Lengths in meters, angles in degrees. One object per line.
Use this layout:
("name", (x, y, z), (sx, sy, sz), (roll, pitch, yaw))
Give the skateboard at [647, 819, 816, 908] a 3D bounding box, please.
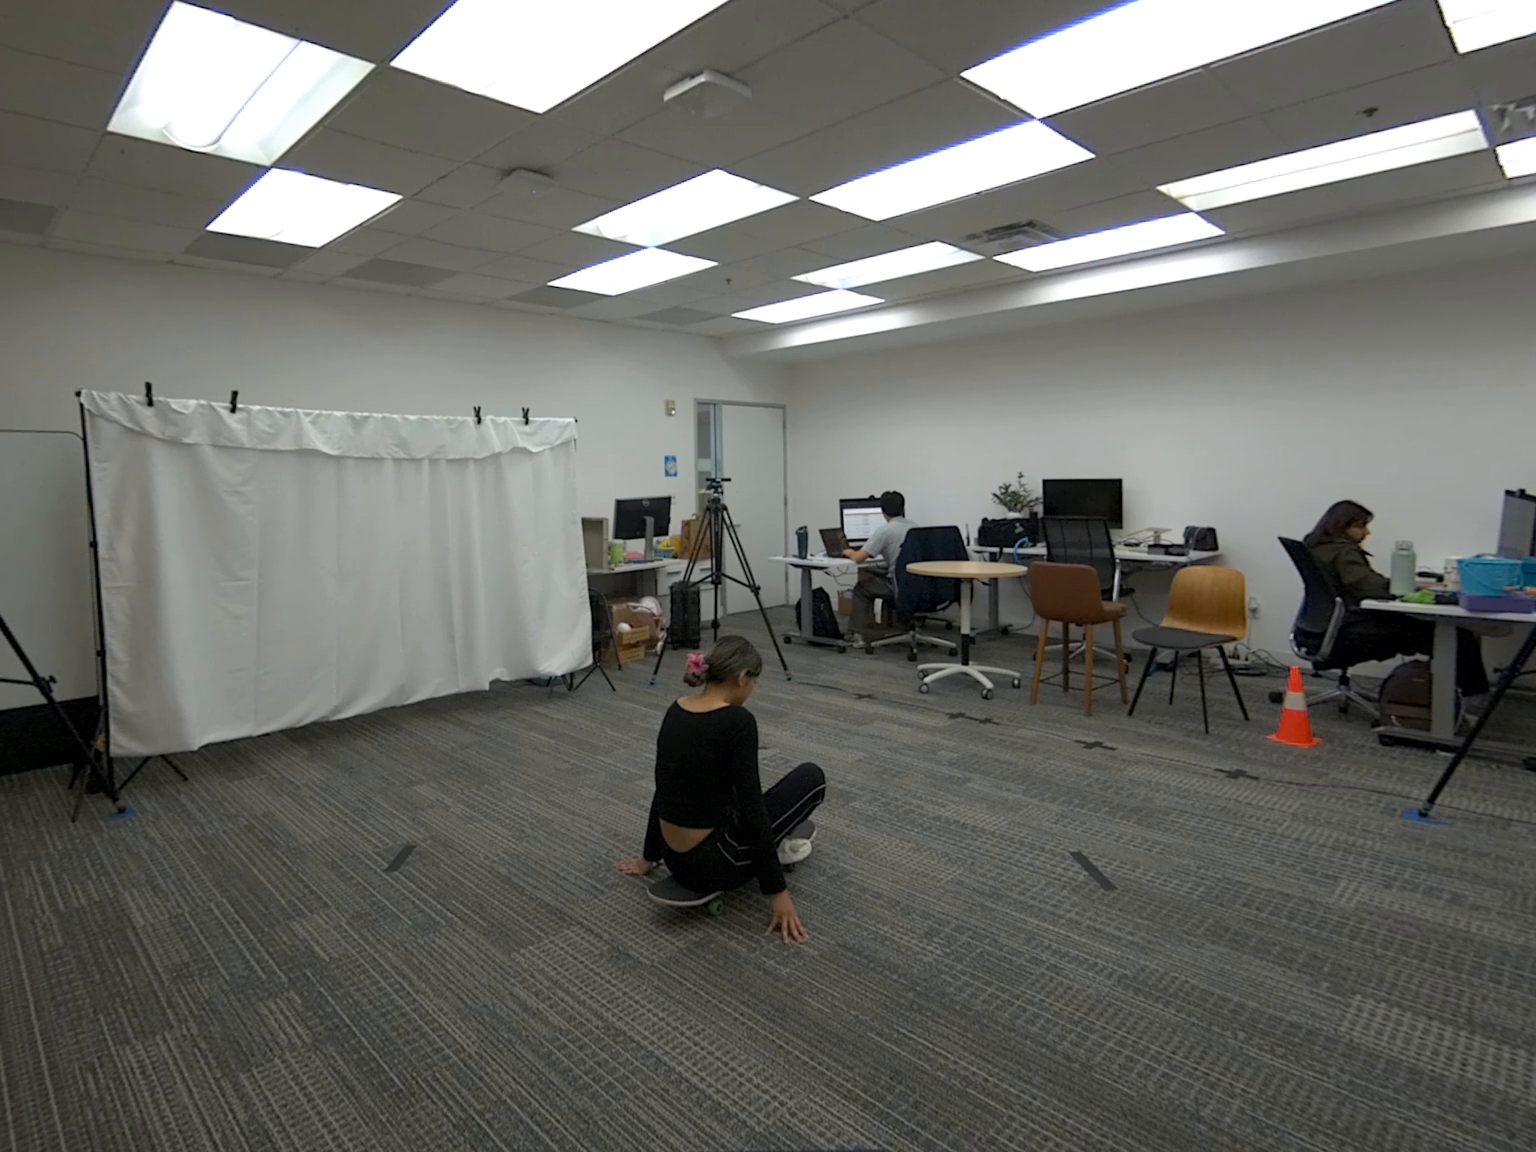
("skateboard", (-0.101, 1.006, 2.948), (0.199, 0.109, 0.767), (4, 10, 38))
